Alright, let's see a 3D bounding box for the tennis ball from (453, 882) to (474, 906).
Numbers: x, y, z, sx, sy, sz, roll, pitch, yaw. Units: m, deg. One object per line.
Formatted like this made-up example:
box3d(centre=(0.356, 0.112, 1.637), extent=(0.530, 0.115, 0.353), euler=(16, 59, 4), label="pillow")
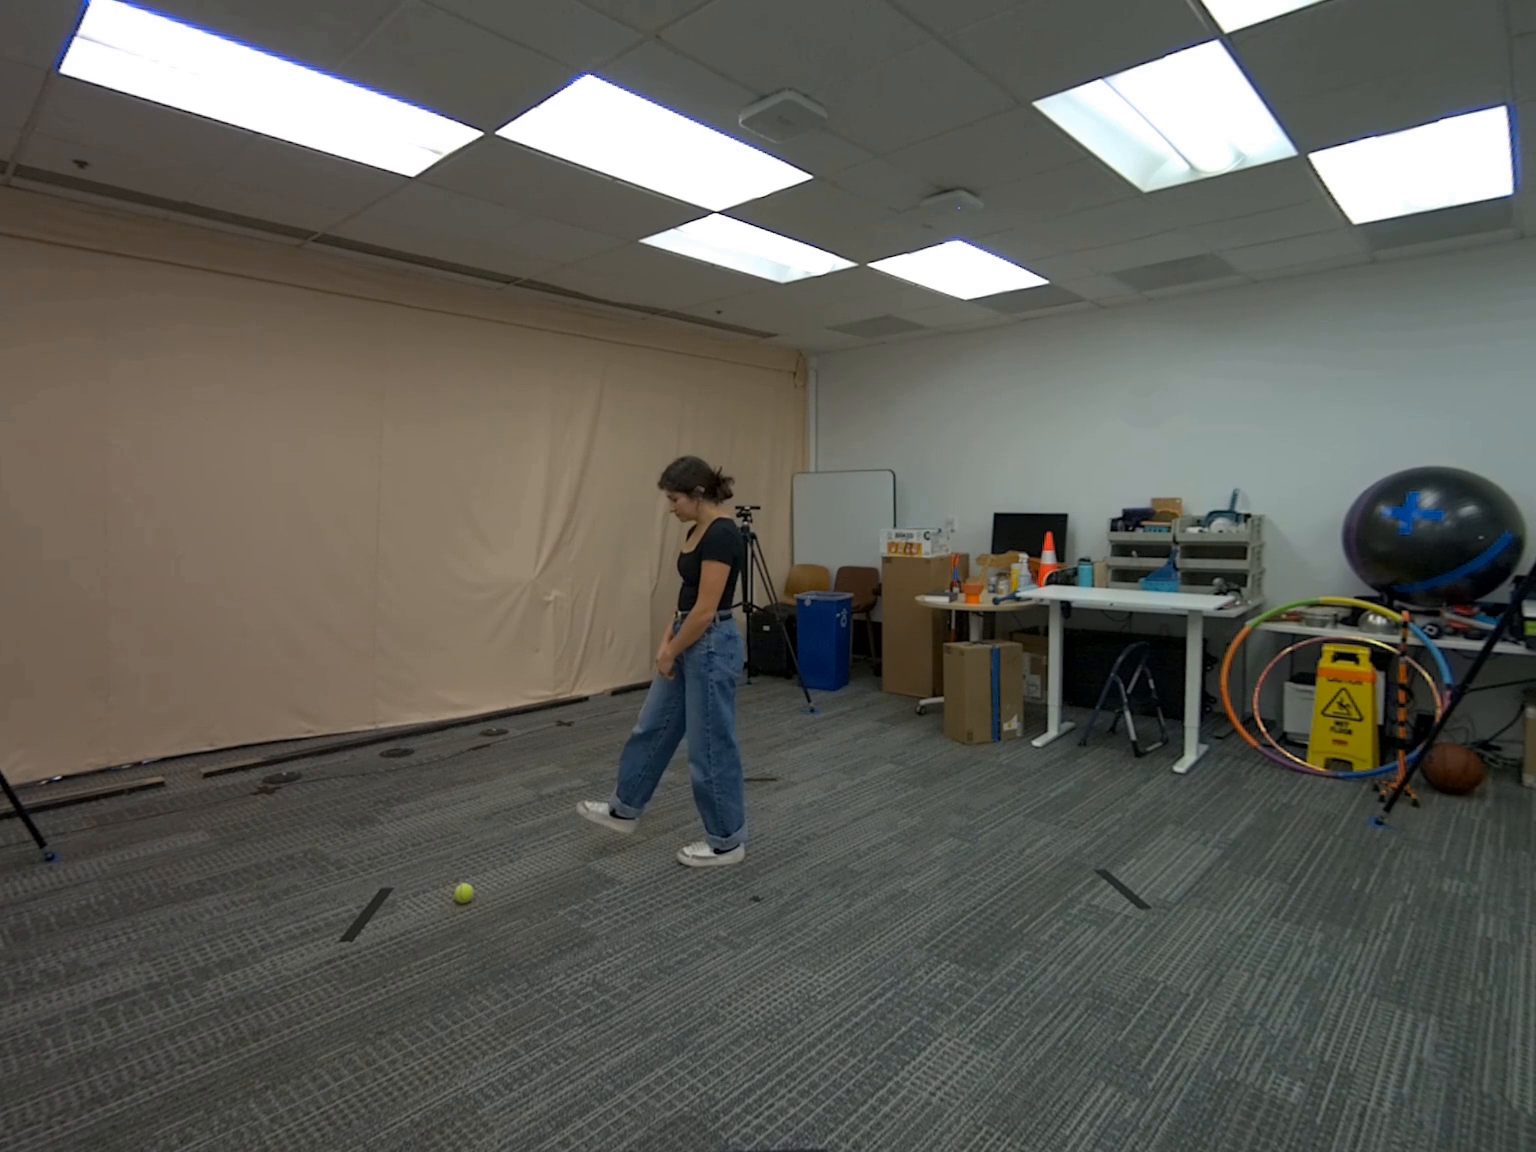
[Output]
box3d(centre=(-1.079, 1.114, 2.975), extent=(0.066, 0.066, 0.067), euler=(0, 4, -2), label="tennis ball")
